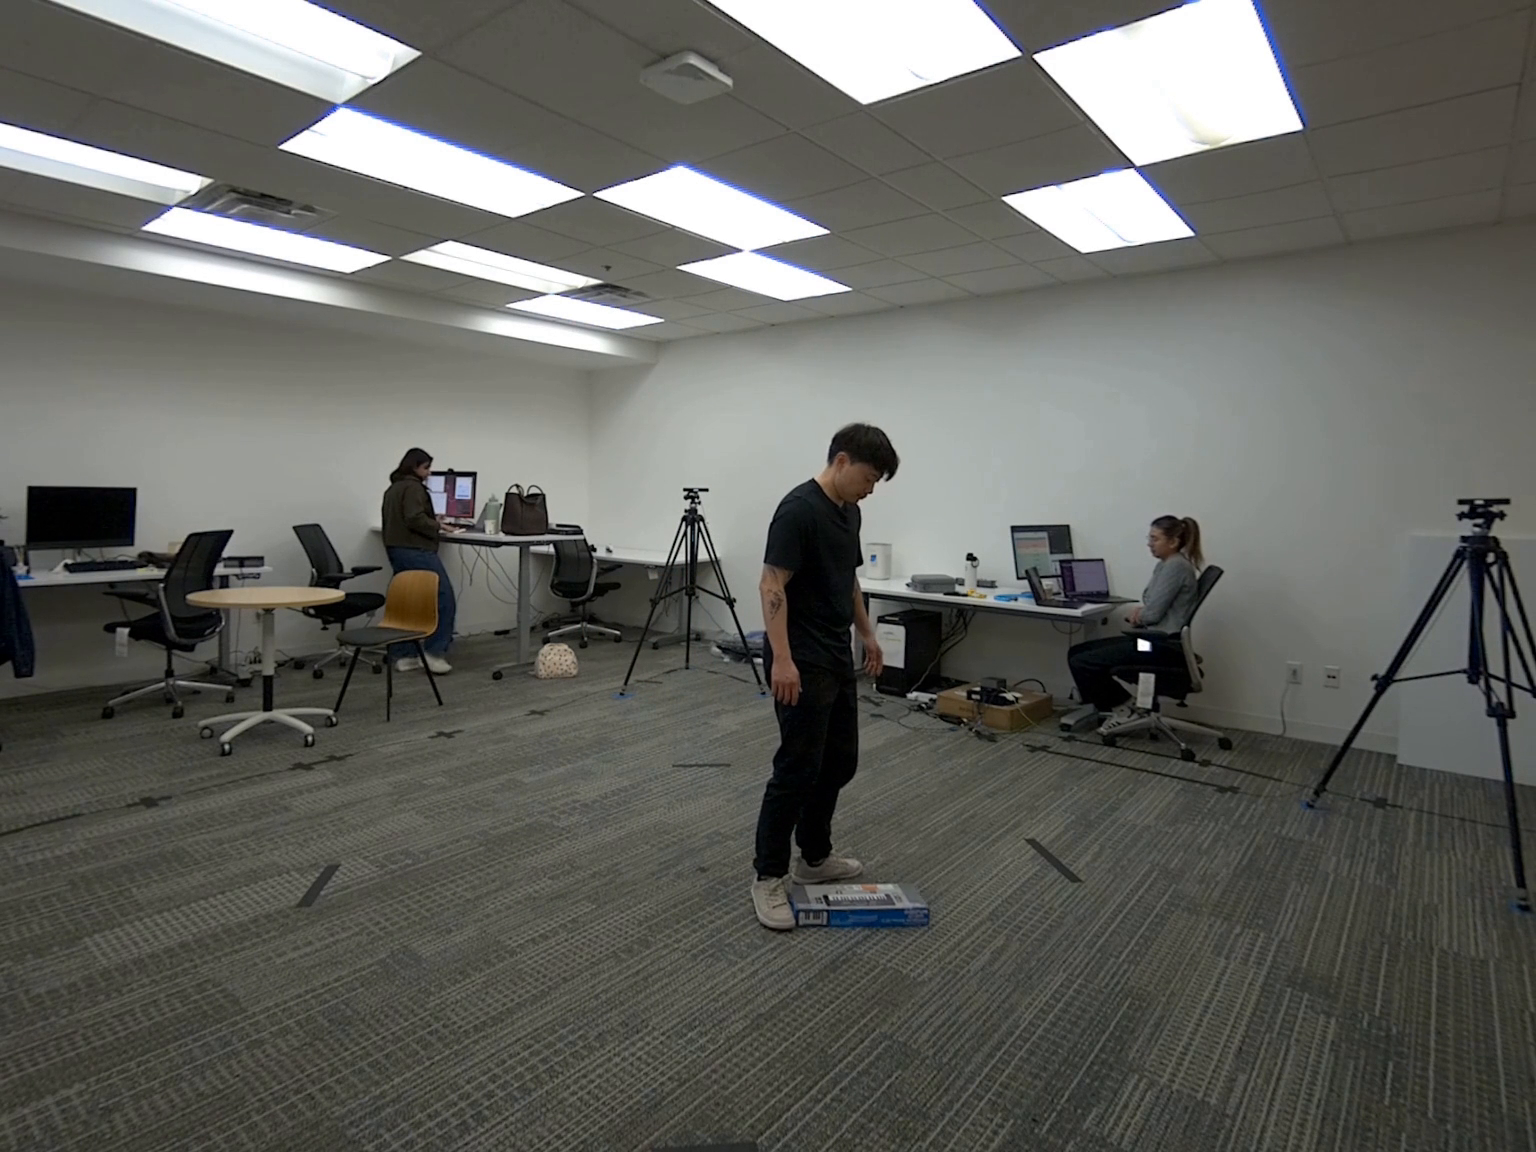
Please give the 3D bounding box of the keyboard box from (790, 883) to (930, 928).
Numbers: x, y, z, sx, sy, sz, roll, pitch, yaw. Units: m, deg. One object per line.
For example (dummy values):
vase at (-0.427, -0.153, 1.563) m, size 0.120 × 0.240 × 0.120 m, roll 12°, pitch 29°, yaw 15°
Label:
keyboard box at (0.301, 1.084, 2.804) m, size 0.434 × 0.059 × 0.177 m, roll 1°, pitch 4°, yaw -6°
